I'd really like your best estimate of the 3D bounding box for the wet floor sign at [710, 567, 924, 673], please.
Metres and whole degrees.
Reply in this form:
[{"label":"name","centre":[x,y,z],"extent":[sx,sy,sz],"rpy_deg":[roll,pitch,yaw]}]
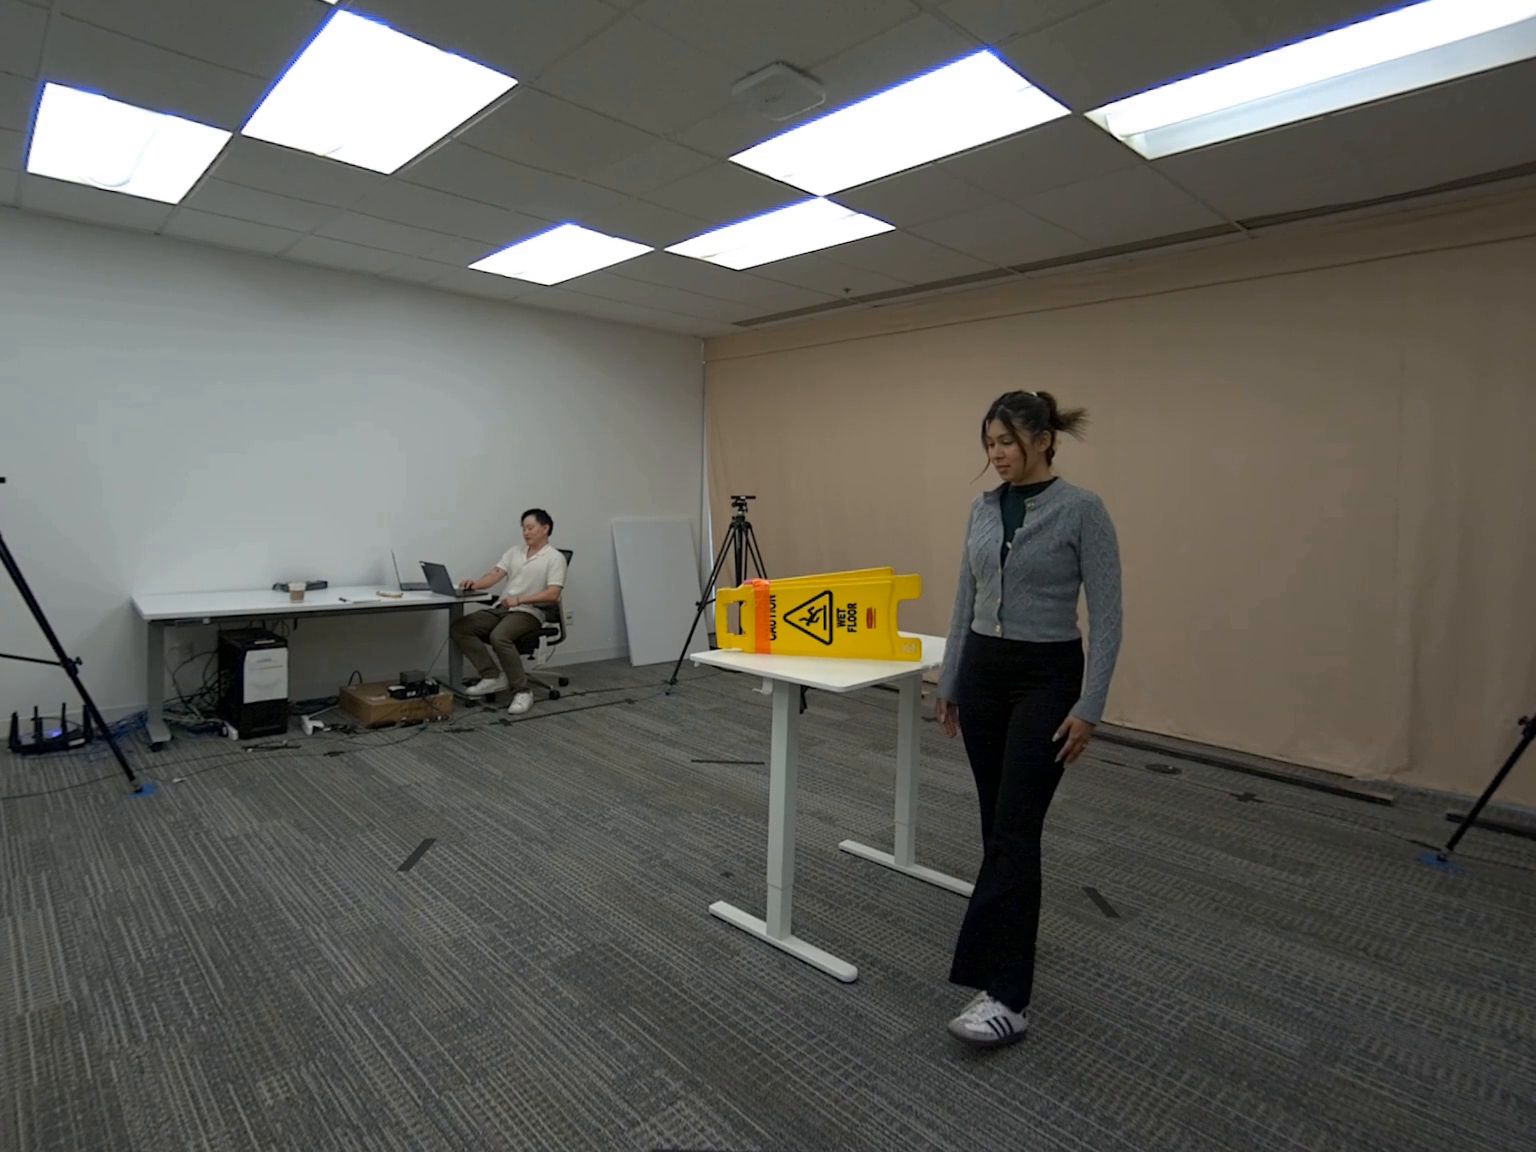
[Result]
[{"label":"wet floor sign","centre":[0.148,0.134,2.795],"extent":[0.642,0.281,0.292],"rpy_deg":[-2,4,-7]}]
